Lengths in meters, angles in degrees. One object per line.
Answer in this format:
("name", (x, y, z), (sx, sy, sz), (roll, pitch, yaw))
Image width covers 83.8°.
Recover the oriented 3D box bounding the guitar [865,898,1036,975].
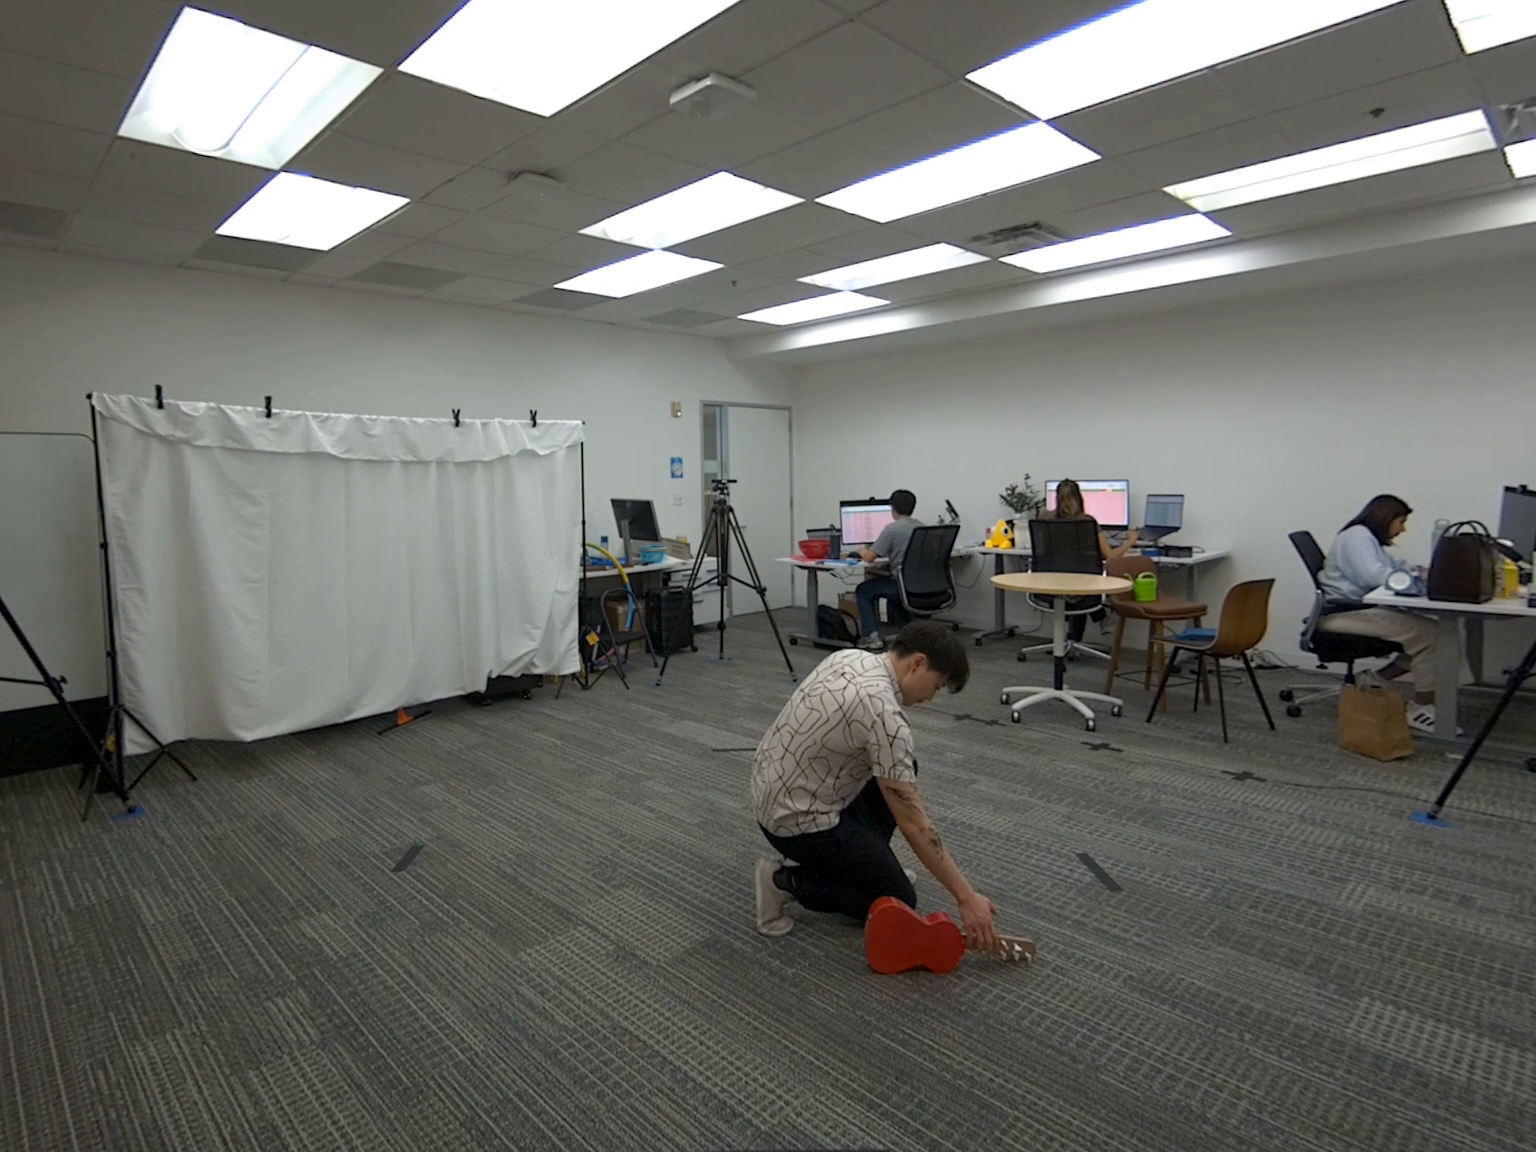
("guitar", (0.537, 1.030, 2.428), (0.497, 0.193, 0.071), (-1, 0, -1))
